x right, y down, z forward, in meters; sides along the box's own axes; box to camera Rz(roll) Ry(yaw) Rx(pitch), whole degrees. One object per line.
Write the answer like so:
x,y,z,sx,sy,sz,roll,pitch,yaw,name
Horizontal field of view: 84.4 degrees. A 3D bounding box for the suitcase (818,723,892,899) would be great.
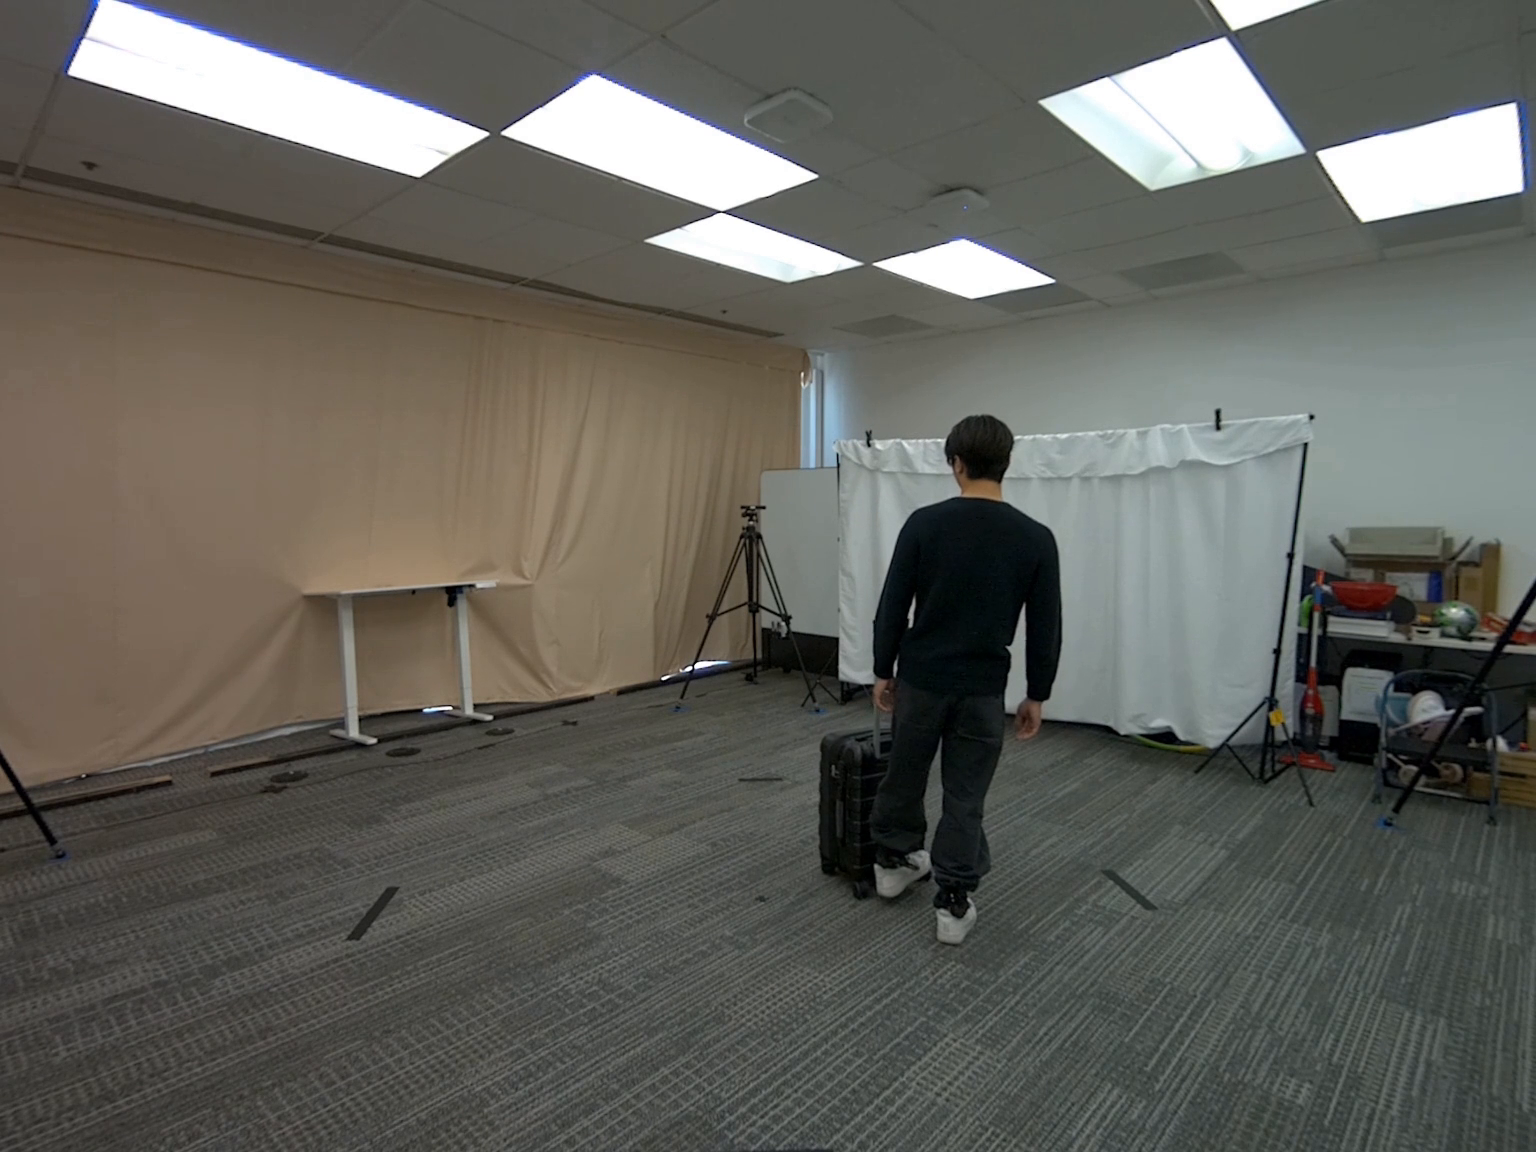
0.390,0.649,3.162,0.374,0.977,0.264,-2,2,-28,suitcase
